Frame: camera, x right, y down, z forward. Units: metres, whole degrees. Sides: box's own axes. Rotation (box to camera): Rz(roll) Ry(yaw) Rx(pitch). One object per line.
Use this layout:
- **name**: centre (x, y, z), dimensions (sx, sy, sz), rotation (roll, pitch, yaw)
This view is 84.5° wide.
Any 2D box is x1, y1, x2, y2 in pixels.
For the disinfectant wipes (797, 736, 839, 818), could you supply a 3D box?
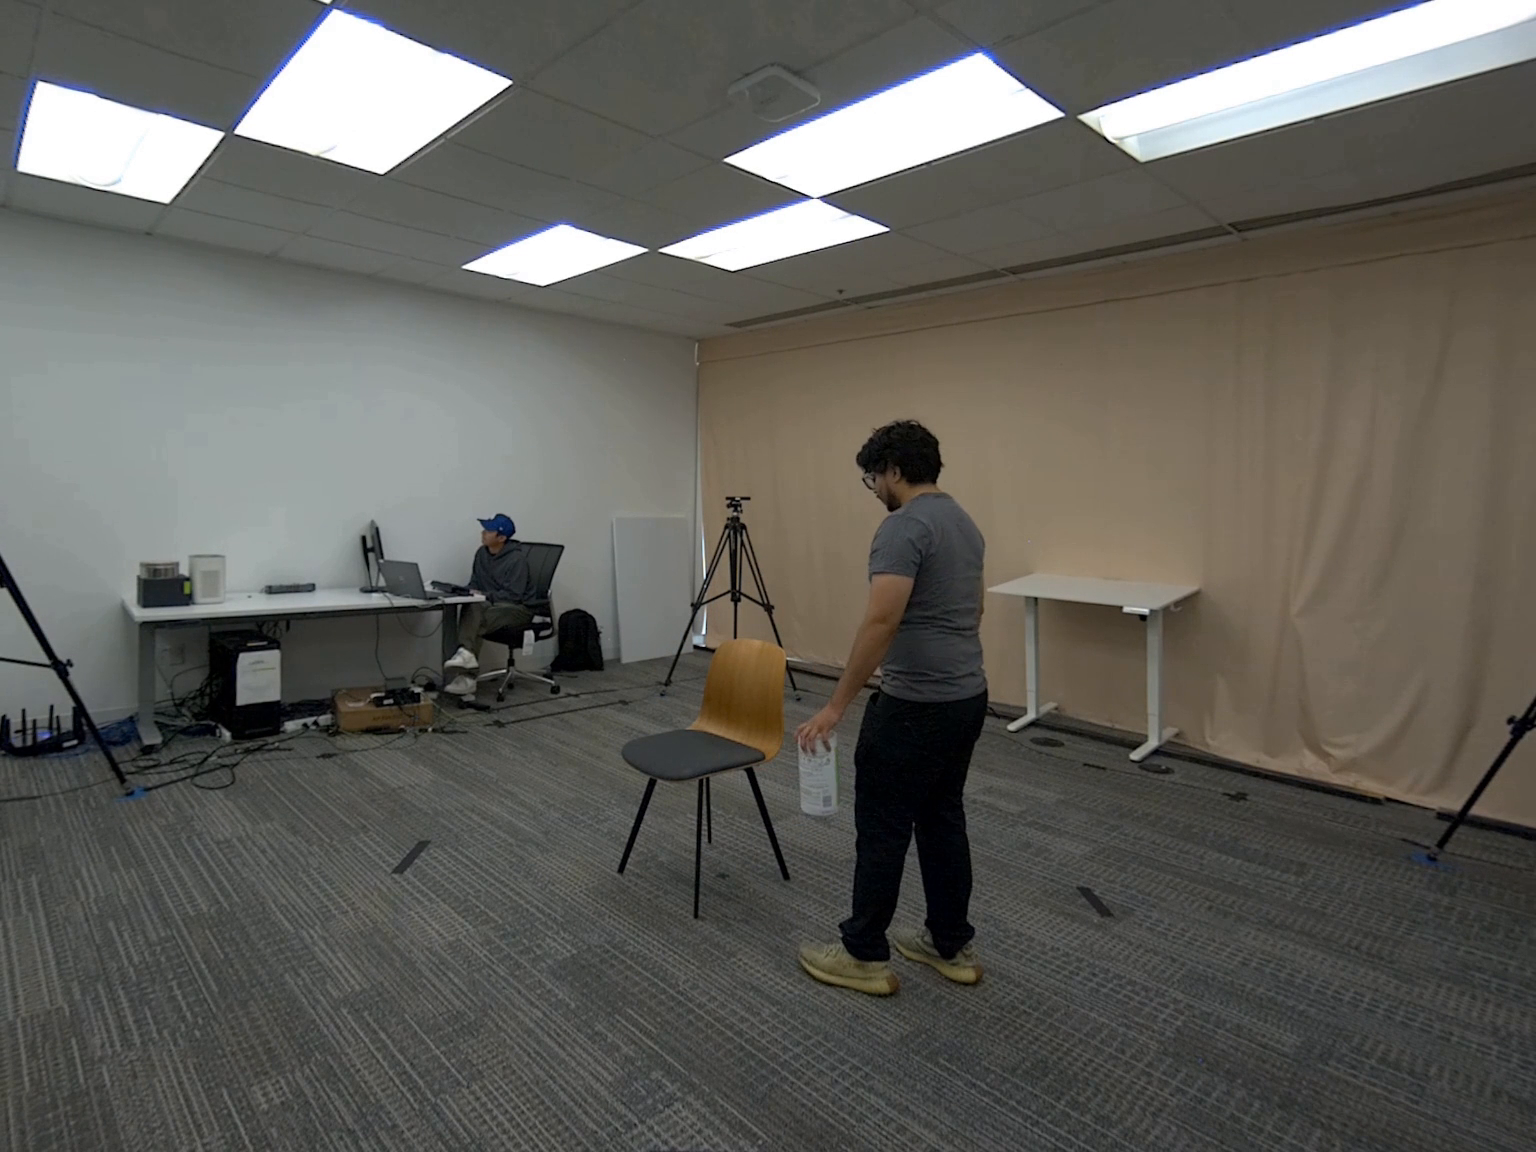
- **disinfectant wipes**: centre (0.147, 0.545, 2.310), dimensions (0.118, 0.216, 0.118), rotation (-4, 6, -1)
